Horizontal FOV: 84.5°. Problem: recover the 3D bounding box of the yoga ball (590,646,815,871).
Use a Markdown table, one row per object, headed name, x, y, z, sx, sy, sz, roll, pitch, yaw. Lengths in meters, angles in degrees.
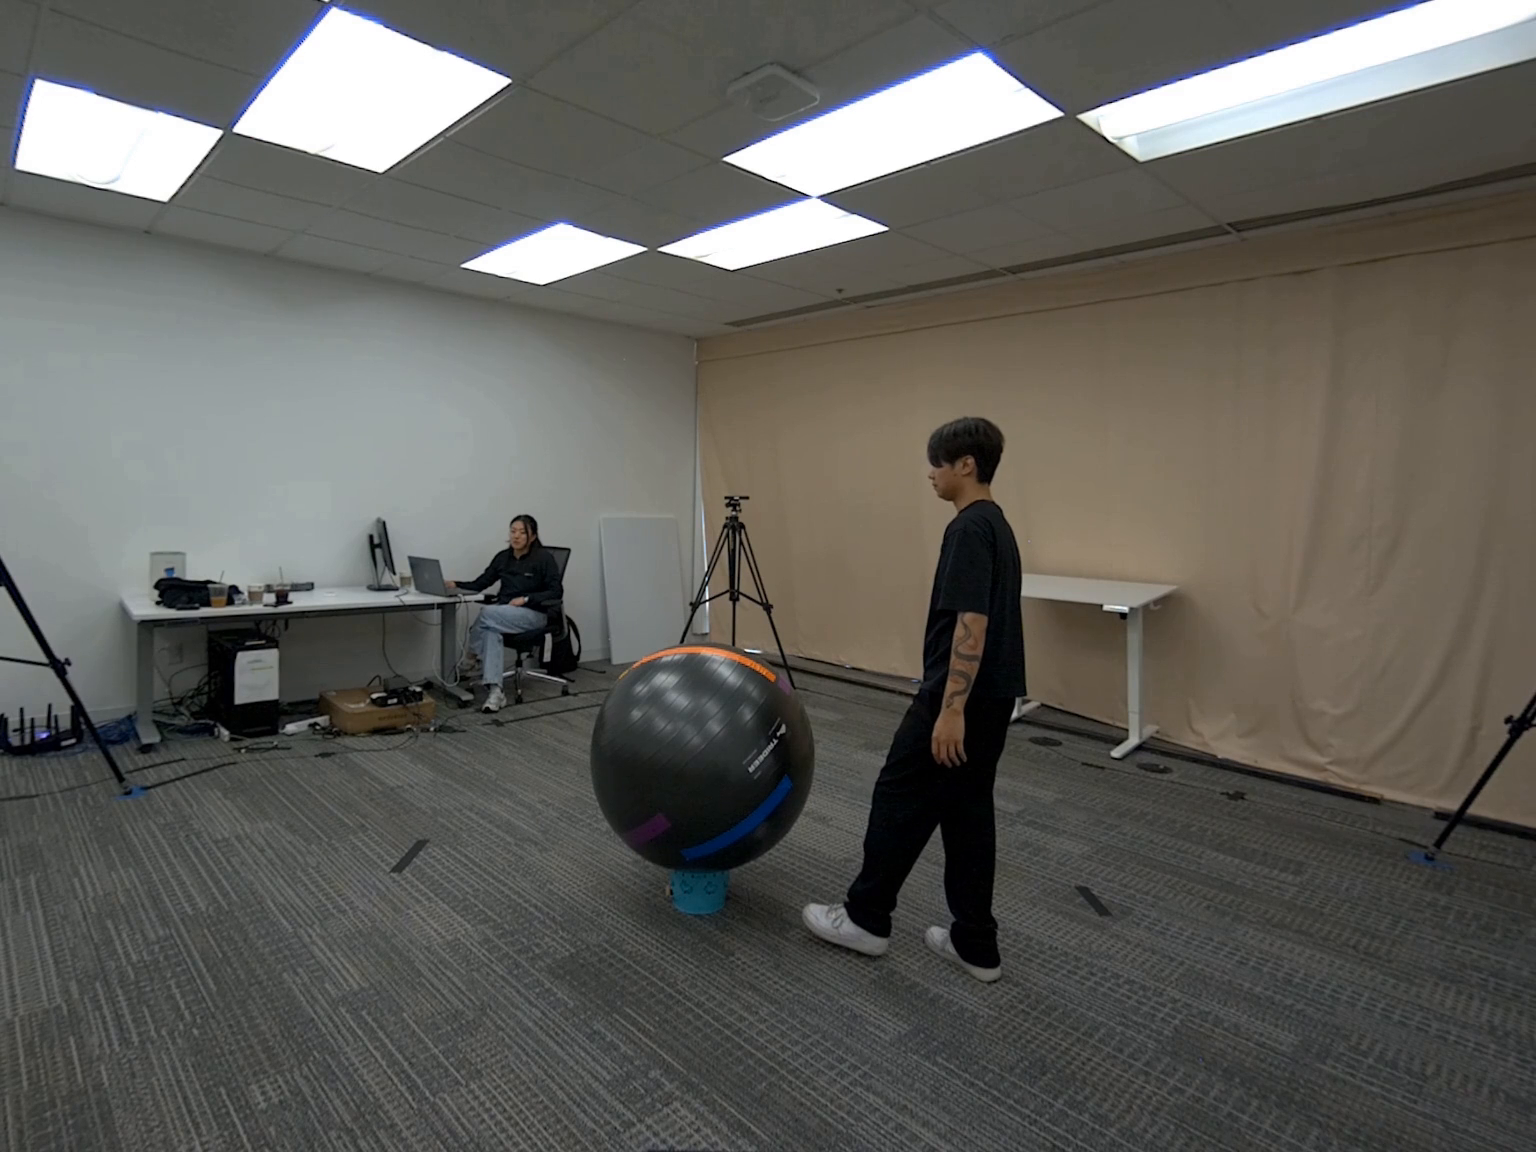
| name | x | y | z | sx | sy | sz | roll | pitch | yaw |
| --- | --- | --- | --- | --- | --- | --- | --- | --- | --- |
| yoga ball | -0.236 | 0.617 | 2.870 | 0.757 | 0.756 | 0.761 | 1 | 4 | -1 |
